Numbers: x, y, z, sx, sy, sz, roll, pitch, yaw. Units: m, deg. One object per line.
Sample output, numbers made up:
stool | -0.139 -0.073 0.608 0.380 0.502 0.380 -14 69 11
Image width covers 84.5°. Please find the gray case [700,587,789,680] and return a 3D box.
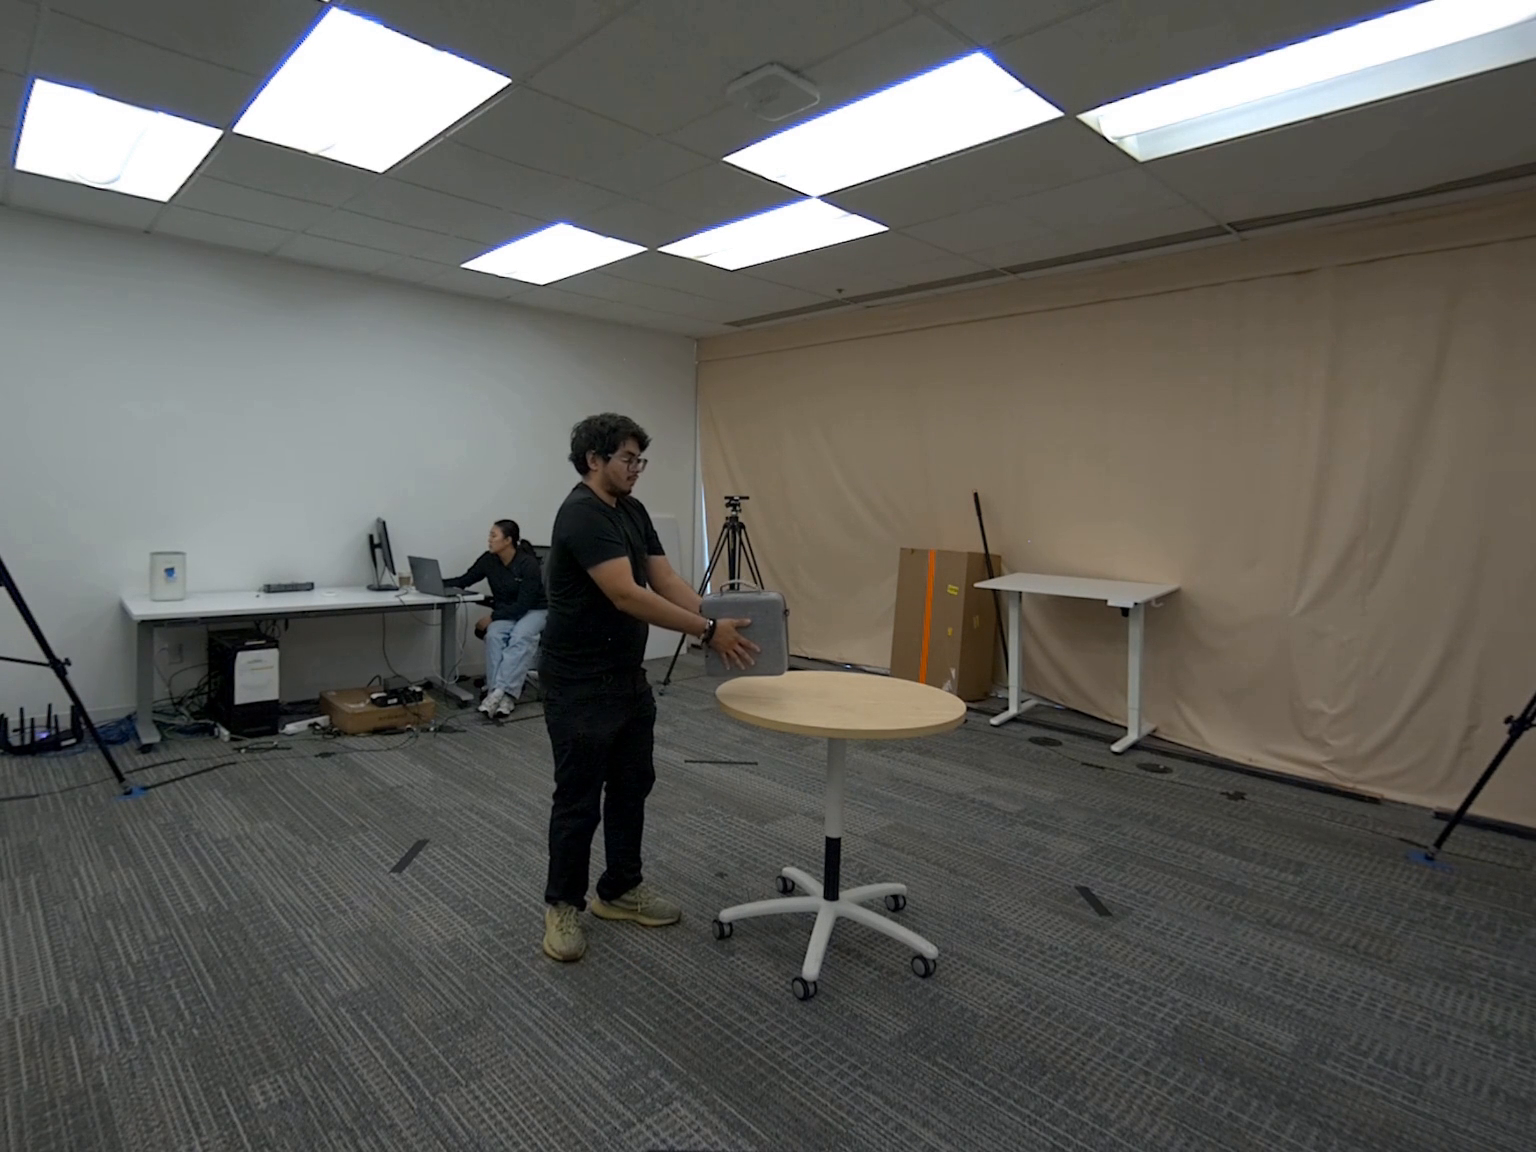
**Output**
gray case | -0.070 0.176 2.523 0.258 0.258 0.104 -3 12 8
